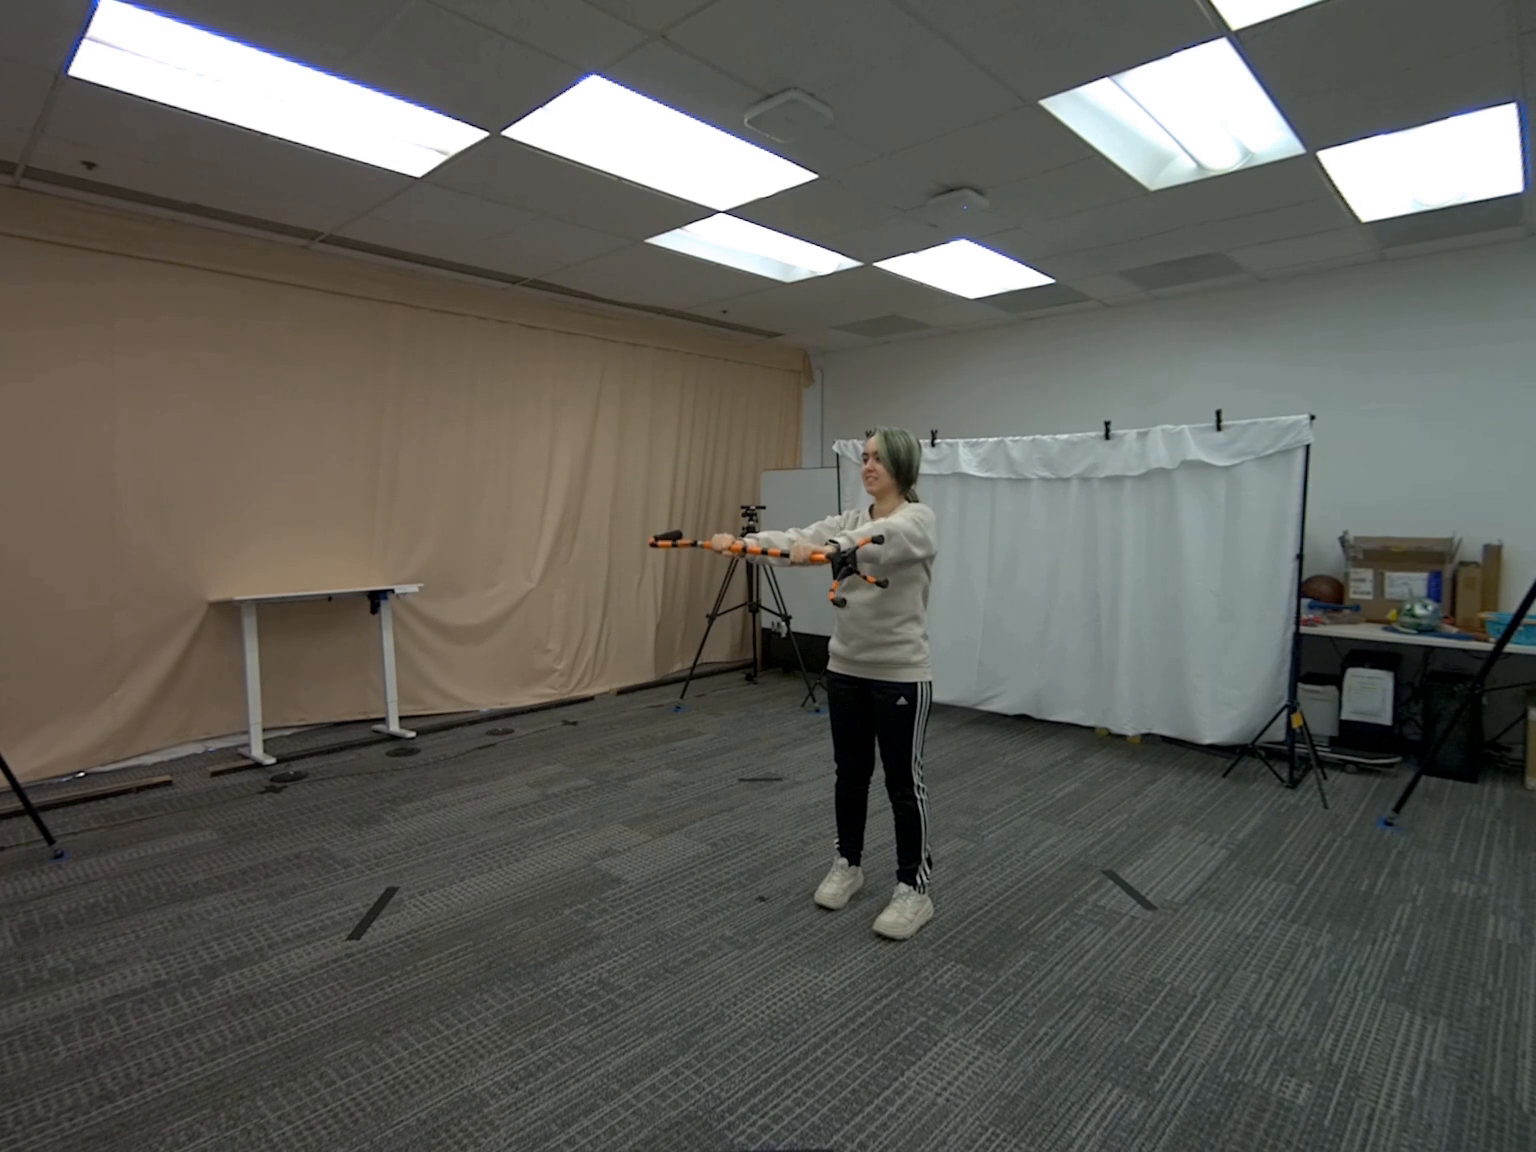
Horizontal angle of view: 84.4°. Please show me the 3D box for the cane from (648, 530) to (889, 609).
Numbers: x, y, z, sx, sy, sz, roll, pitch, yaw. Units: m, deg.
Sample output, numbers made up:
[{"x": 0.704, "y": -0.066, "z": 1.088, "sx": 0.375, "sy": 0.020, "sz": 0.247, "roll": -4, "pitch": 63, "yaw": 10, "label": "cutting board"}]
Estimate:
[{"x": -0.075, "y": -0.065, "z": 2.542, "sx": 0.201, "sy": 0.150, "sz": 0.939, "roll": -18, "pitch": 17, "yaw": -39, "label": "cane"}]
